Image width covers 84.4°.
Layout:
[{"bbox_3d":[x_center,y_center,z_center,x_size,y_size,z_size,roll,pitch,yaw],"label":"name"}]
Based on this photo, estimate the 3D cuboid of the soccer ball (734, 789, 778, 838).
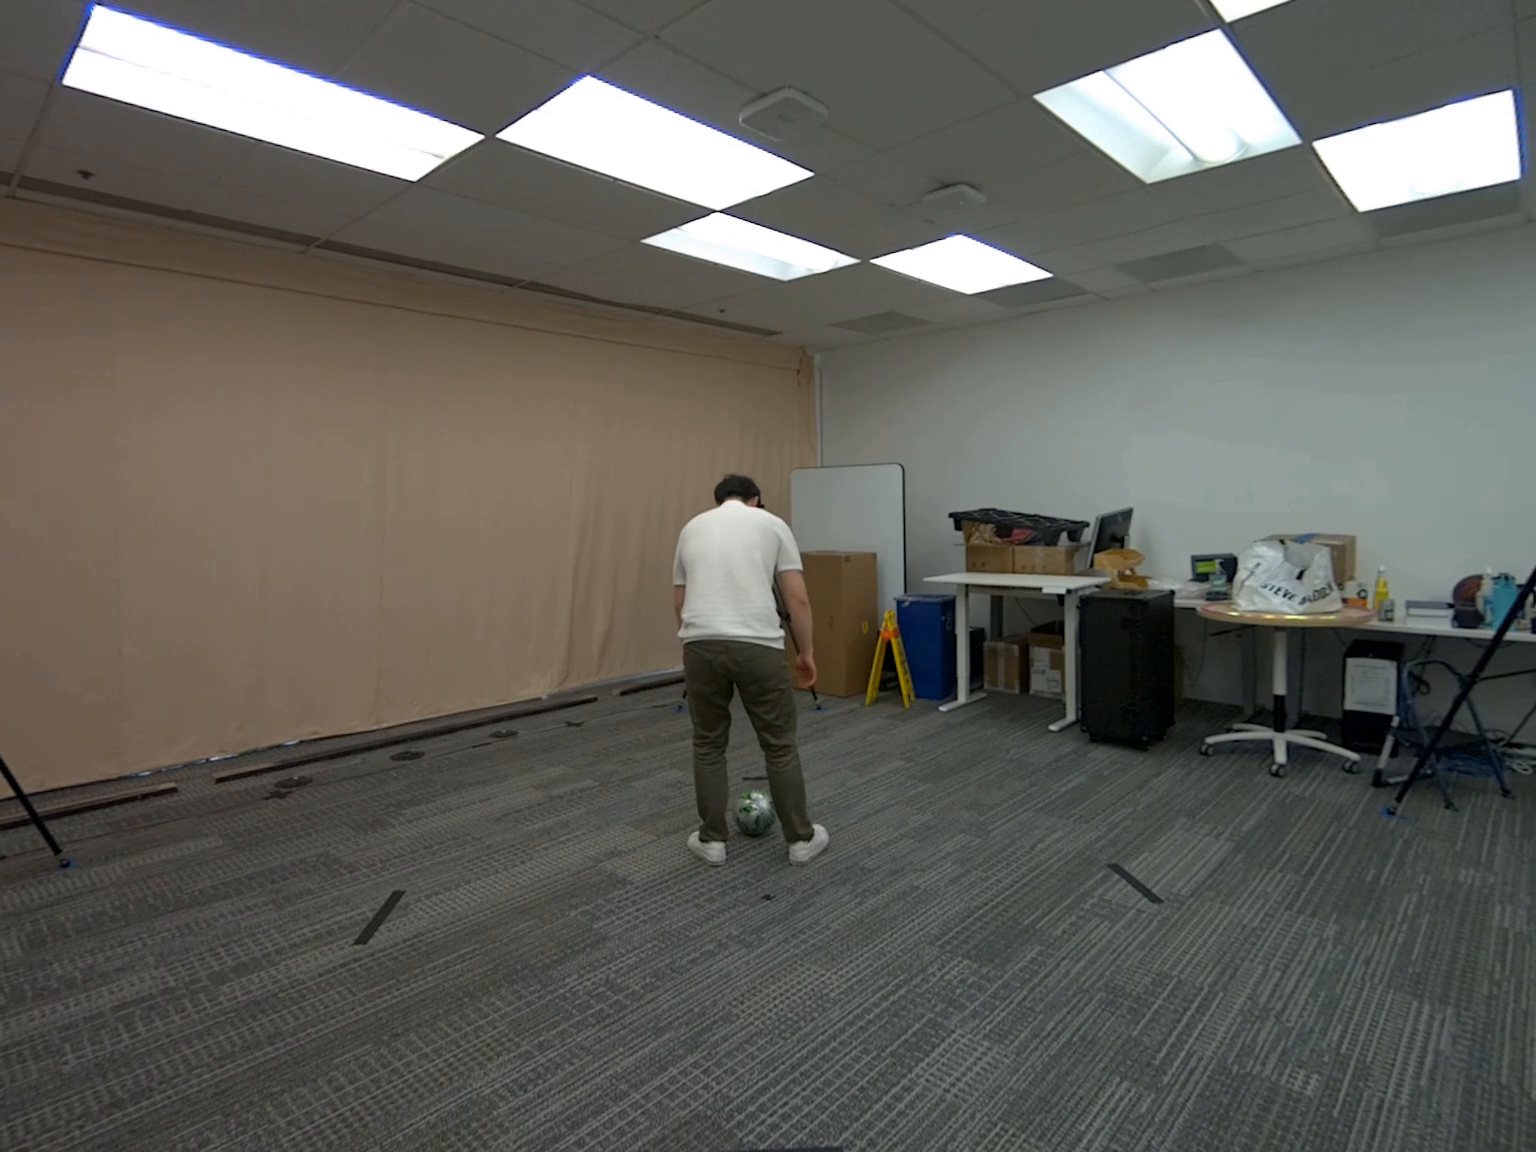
[{"bbox_3d":[-0.058,1.000,3.567,0.187,0.187,0.188,-1,4,-2],"label":"soccer ball"}]
